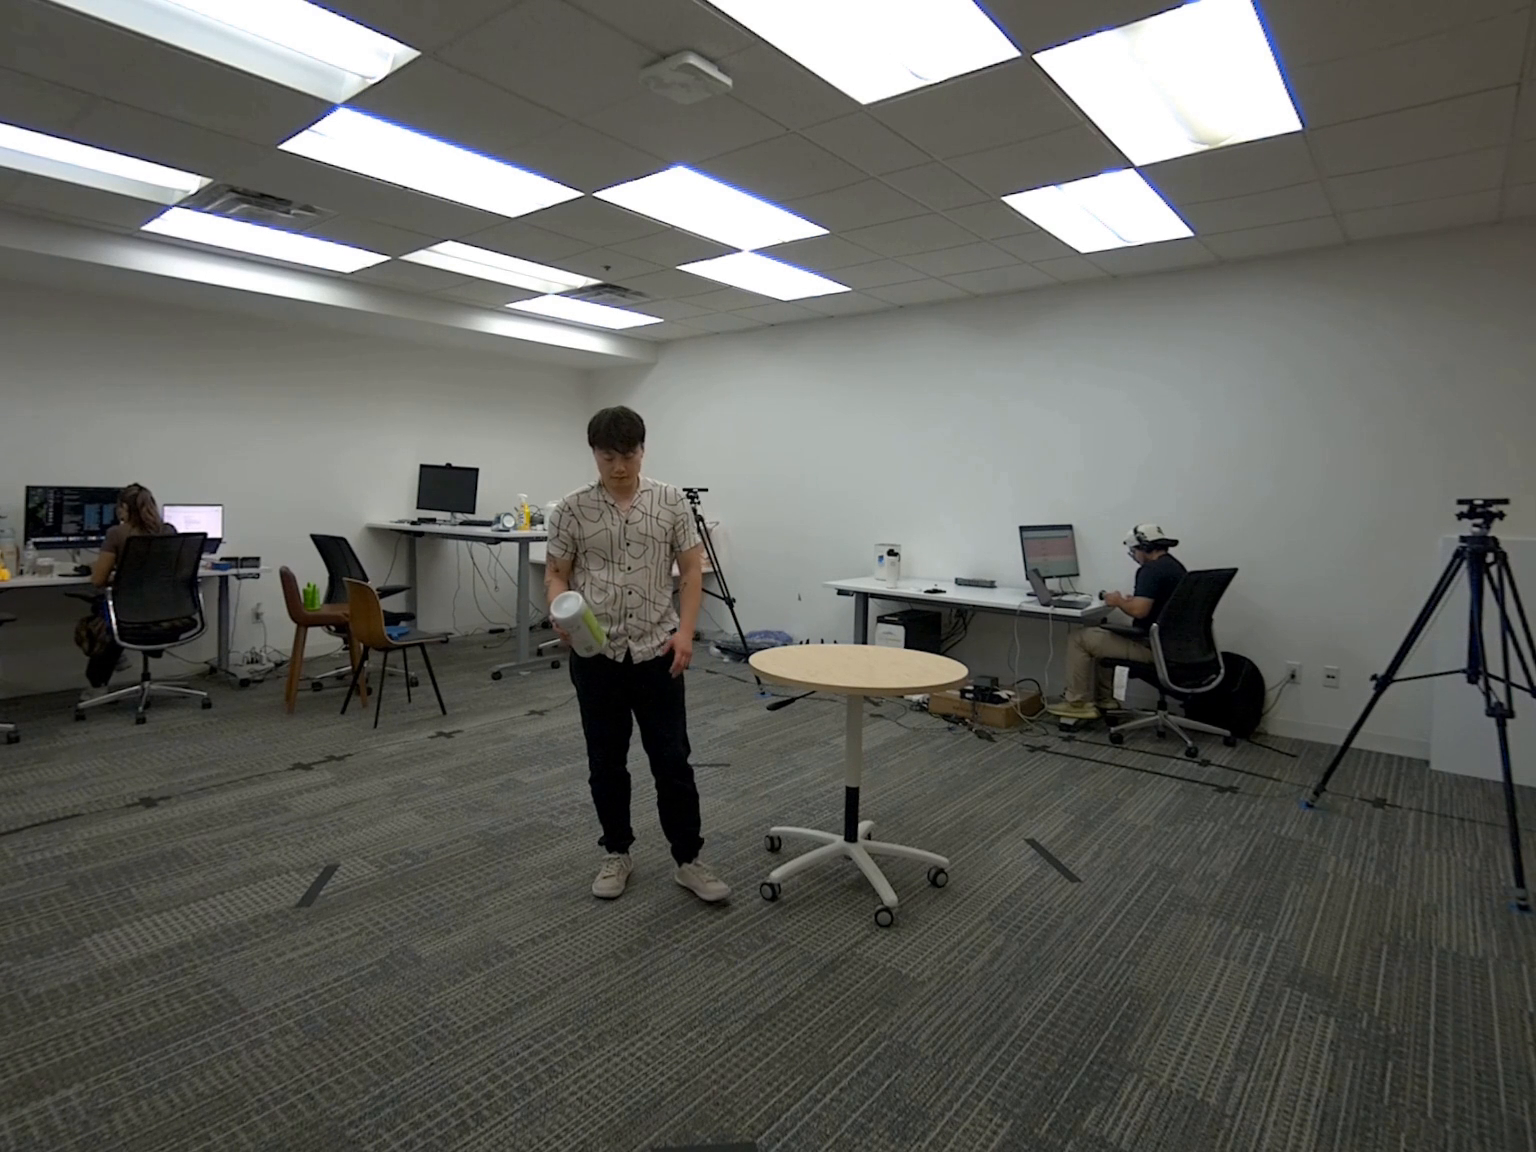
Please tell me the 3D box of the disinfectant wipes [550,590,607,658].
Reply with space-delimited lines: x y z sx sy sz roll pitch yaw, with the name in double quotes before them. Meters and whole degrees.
"disinfectant wipes" -0.600 0.148 2.674 0.120 0.120 0.209 2 -40 16
